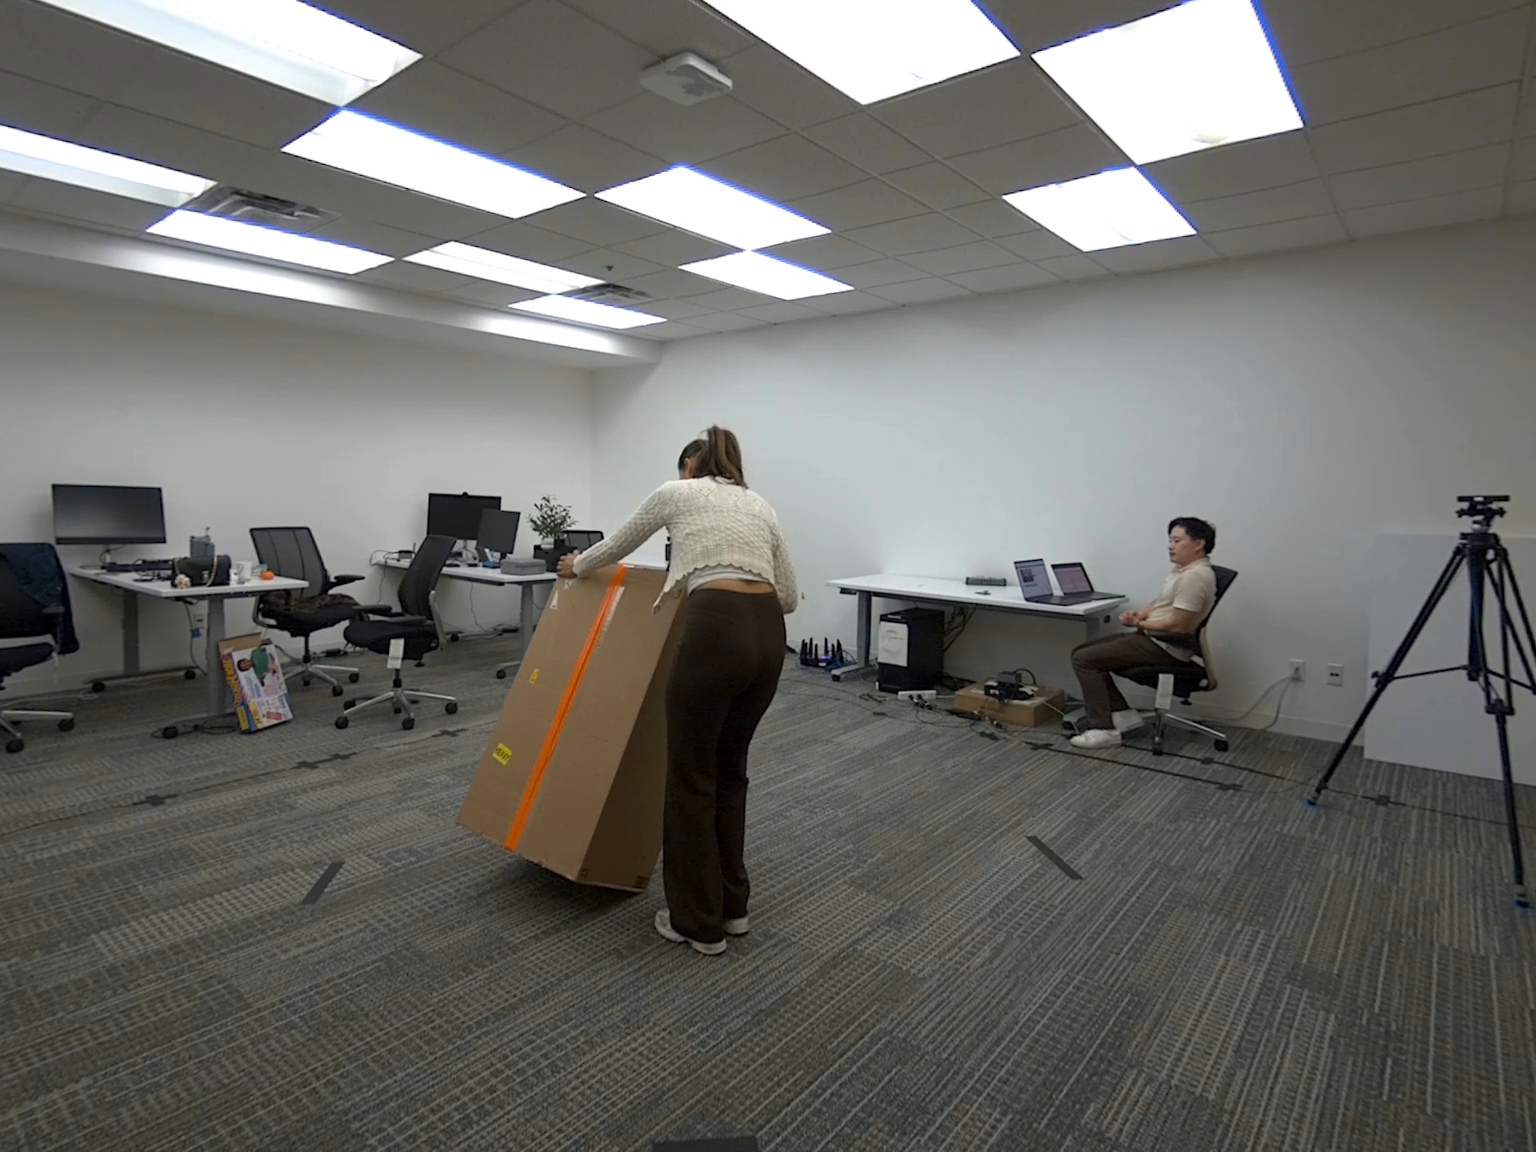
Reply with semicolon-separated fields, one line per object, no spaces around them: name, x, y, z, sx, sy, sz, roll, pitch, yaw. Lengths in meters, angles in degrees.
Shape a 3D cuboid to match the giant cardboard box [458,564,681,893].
giant cardboard box;-0.599;0.503;3.067;0.596;1.035;0.409;9;-19;32
